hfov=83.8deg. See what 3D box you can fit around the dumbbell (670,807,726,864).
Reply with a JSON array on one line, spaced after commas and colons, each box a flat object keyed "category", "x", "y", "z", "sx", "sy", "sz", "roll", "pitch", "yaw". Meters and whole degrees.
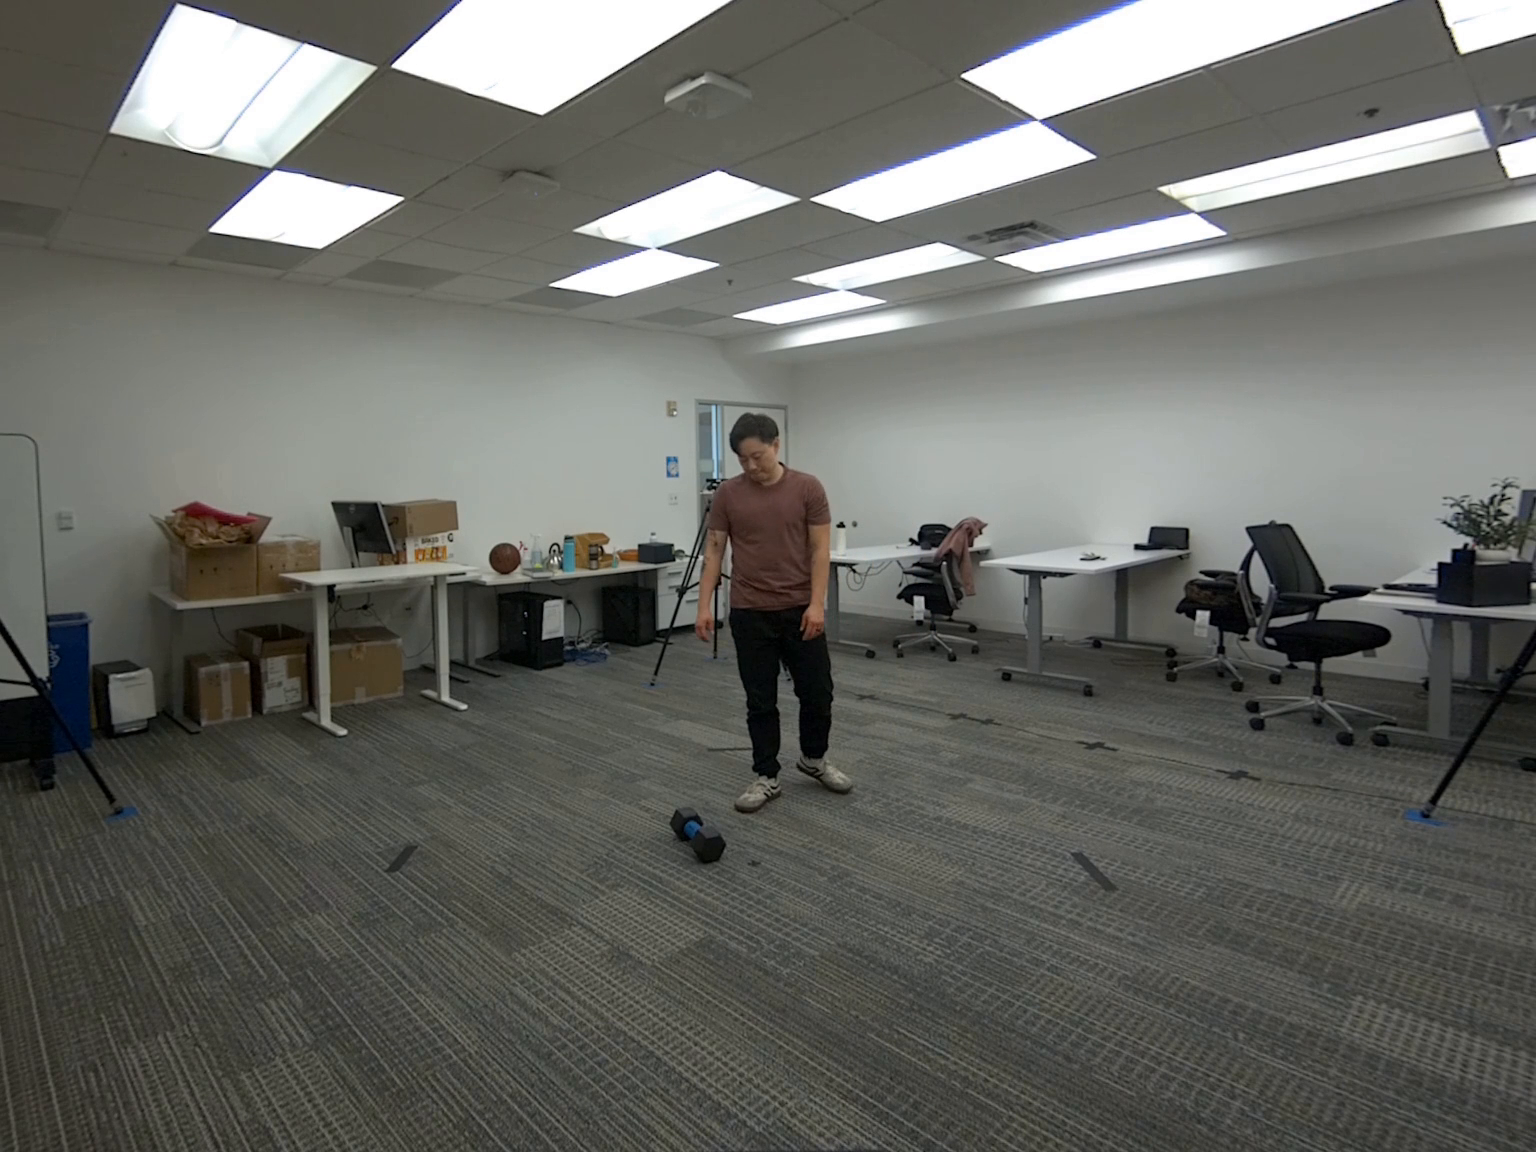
[{"category": "dumbbell", "x": -0.267, "y": 0.978, "z": 3.241, "sx": 0.108, "sy": 0.120, "sz": 0.301, "roll": -36, "pitch": 20, "yaw": -19}]
